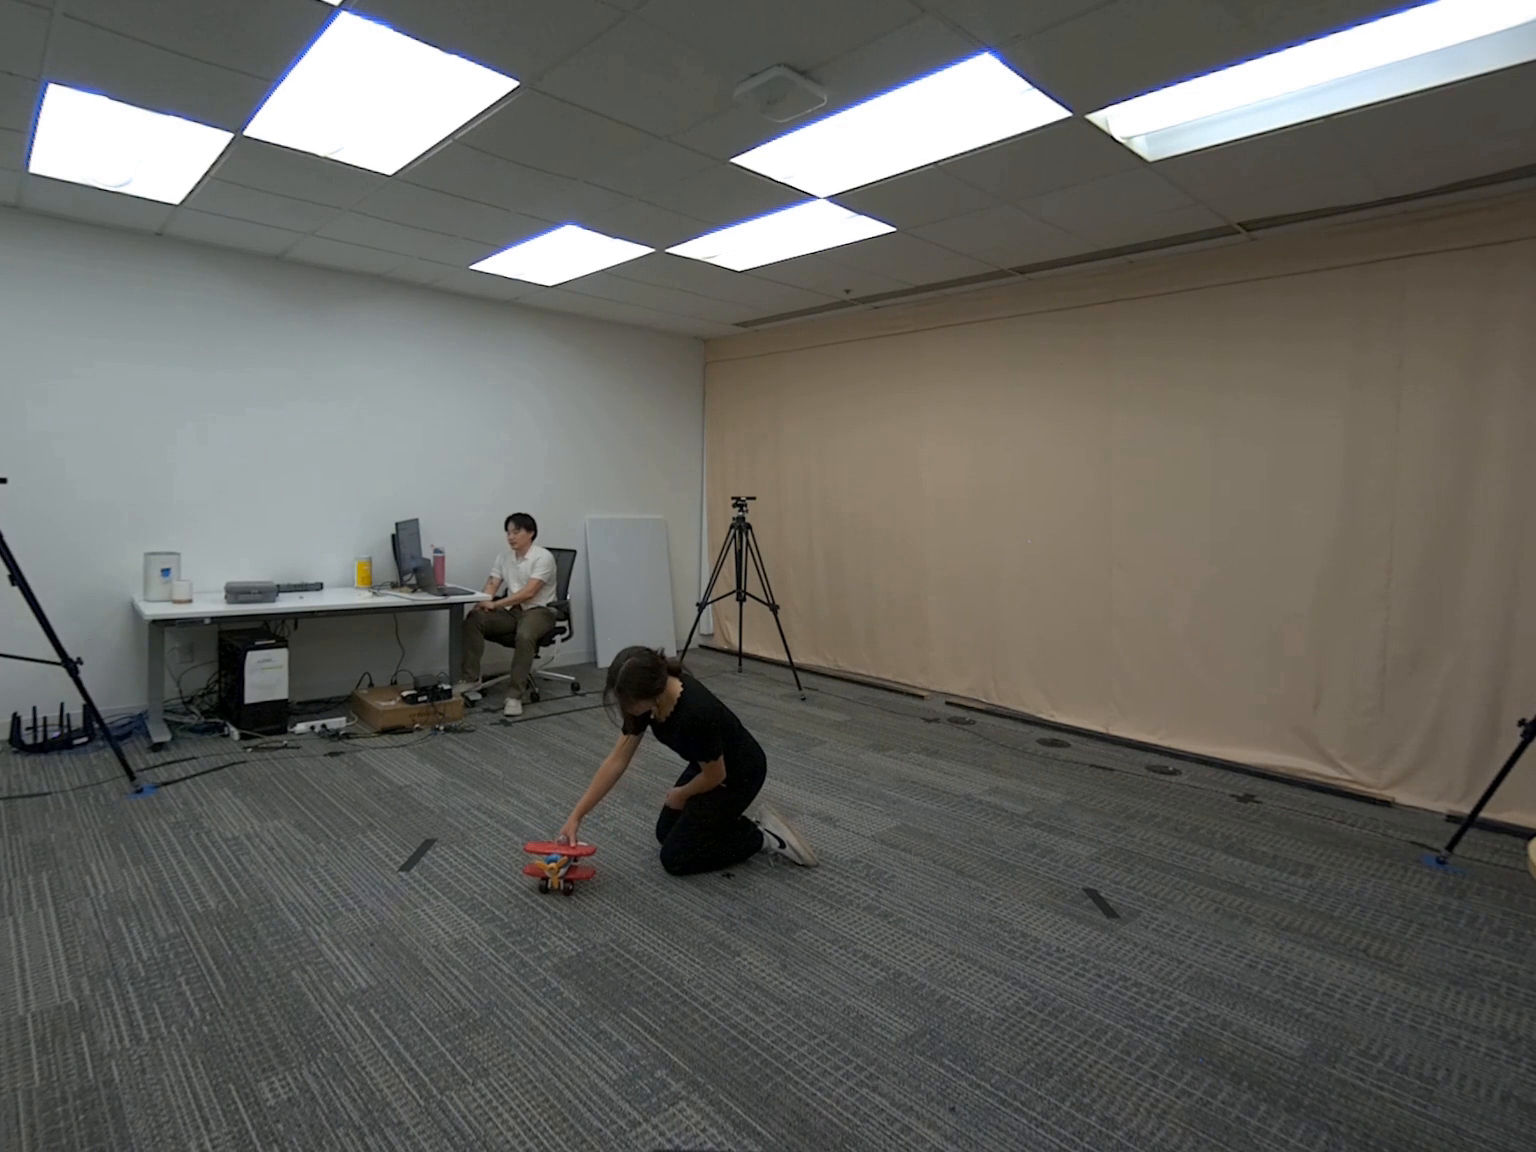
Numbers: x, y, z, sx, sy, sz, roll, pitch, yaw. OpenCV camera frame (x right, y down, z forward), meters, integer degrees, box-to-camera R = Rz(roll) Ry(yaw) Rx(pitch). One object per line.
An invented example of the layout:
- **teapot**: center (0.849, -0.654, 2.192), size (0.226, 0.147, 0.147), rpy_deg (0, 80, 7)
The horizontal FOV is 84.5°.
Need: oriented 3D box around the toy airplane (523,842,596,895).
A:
- **toy airplane**: center (-0.759, 1.013, 3.001), size (0.247, 0.154, 0.266), rpy_deg (-7, 19, -23)
